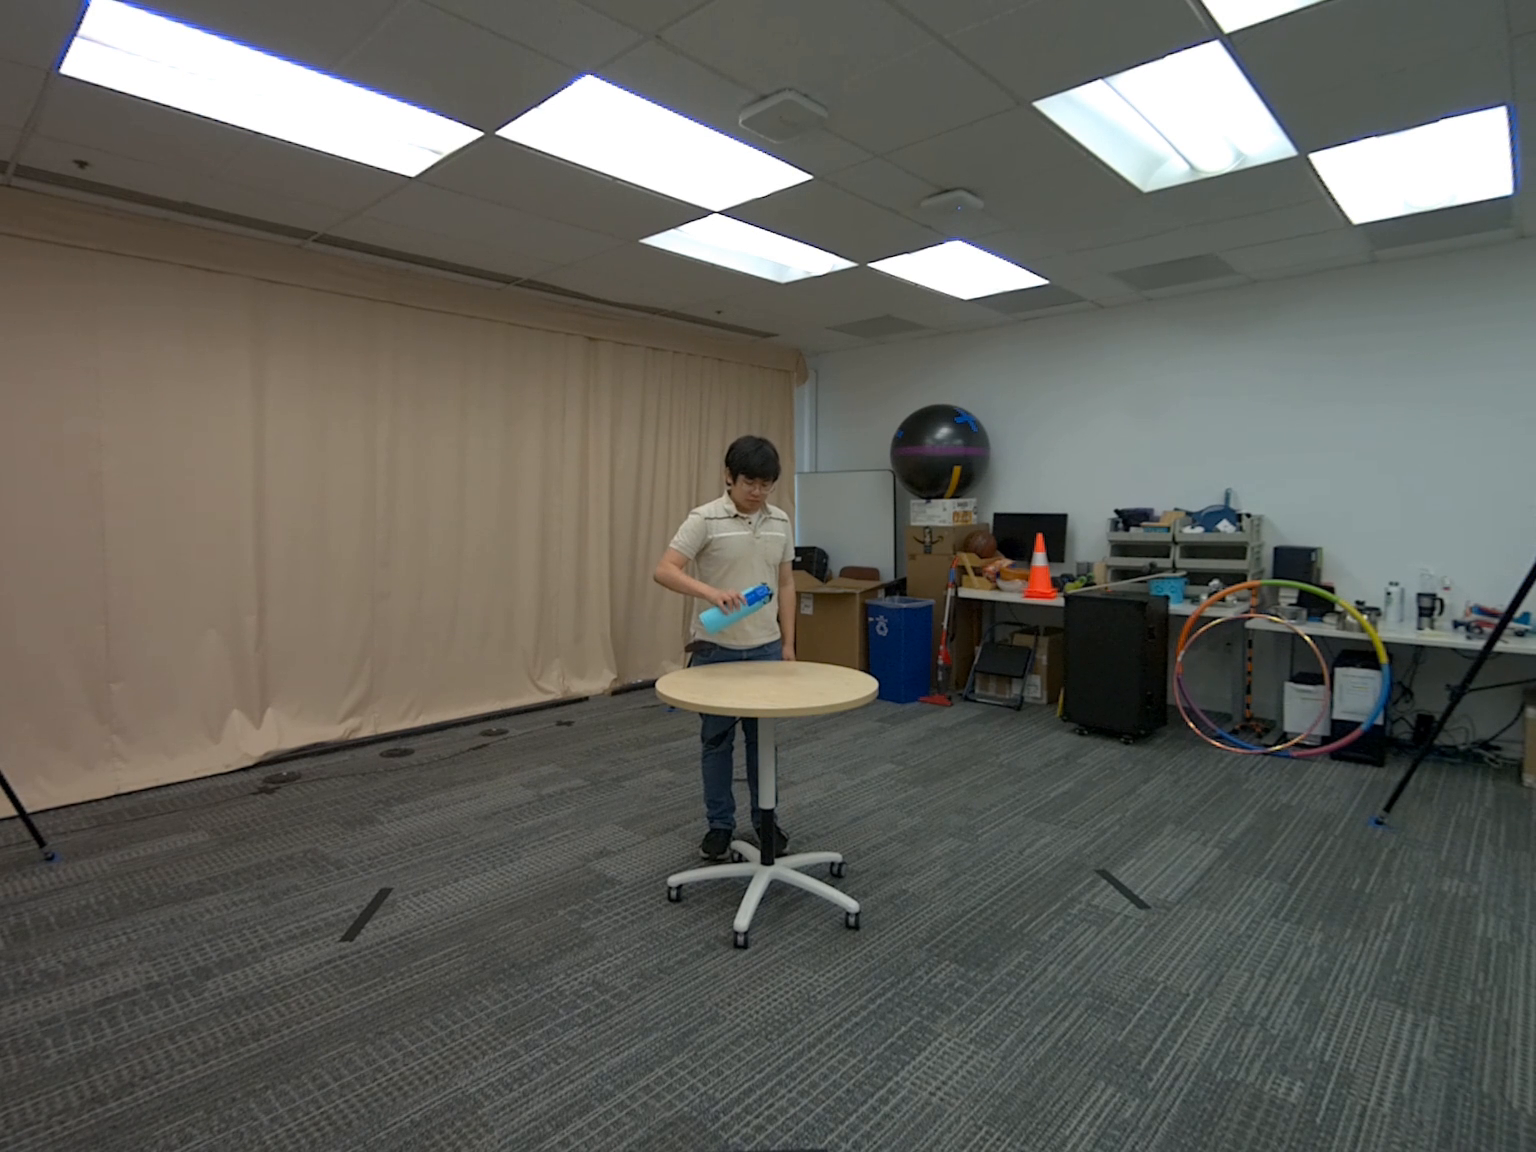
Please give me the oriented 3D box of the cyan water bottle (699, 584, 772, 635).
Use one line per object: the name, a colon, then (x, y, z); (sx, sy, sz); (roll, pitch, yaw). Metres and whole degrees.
cyan water bottle: (-0.102, 0.123, 3.076); (0.284, 0.092, 0.092); (-28, 4, 2)
